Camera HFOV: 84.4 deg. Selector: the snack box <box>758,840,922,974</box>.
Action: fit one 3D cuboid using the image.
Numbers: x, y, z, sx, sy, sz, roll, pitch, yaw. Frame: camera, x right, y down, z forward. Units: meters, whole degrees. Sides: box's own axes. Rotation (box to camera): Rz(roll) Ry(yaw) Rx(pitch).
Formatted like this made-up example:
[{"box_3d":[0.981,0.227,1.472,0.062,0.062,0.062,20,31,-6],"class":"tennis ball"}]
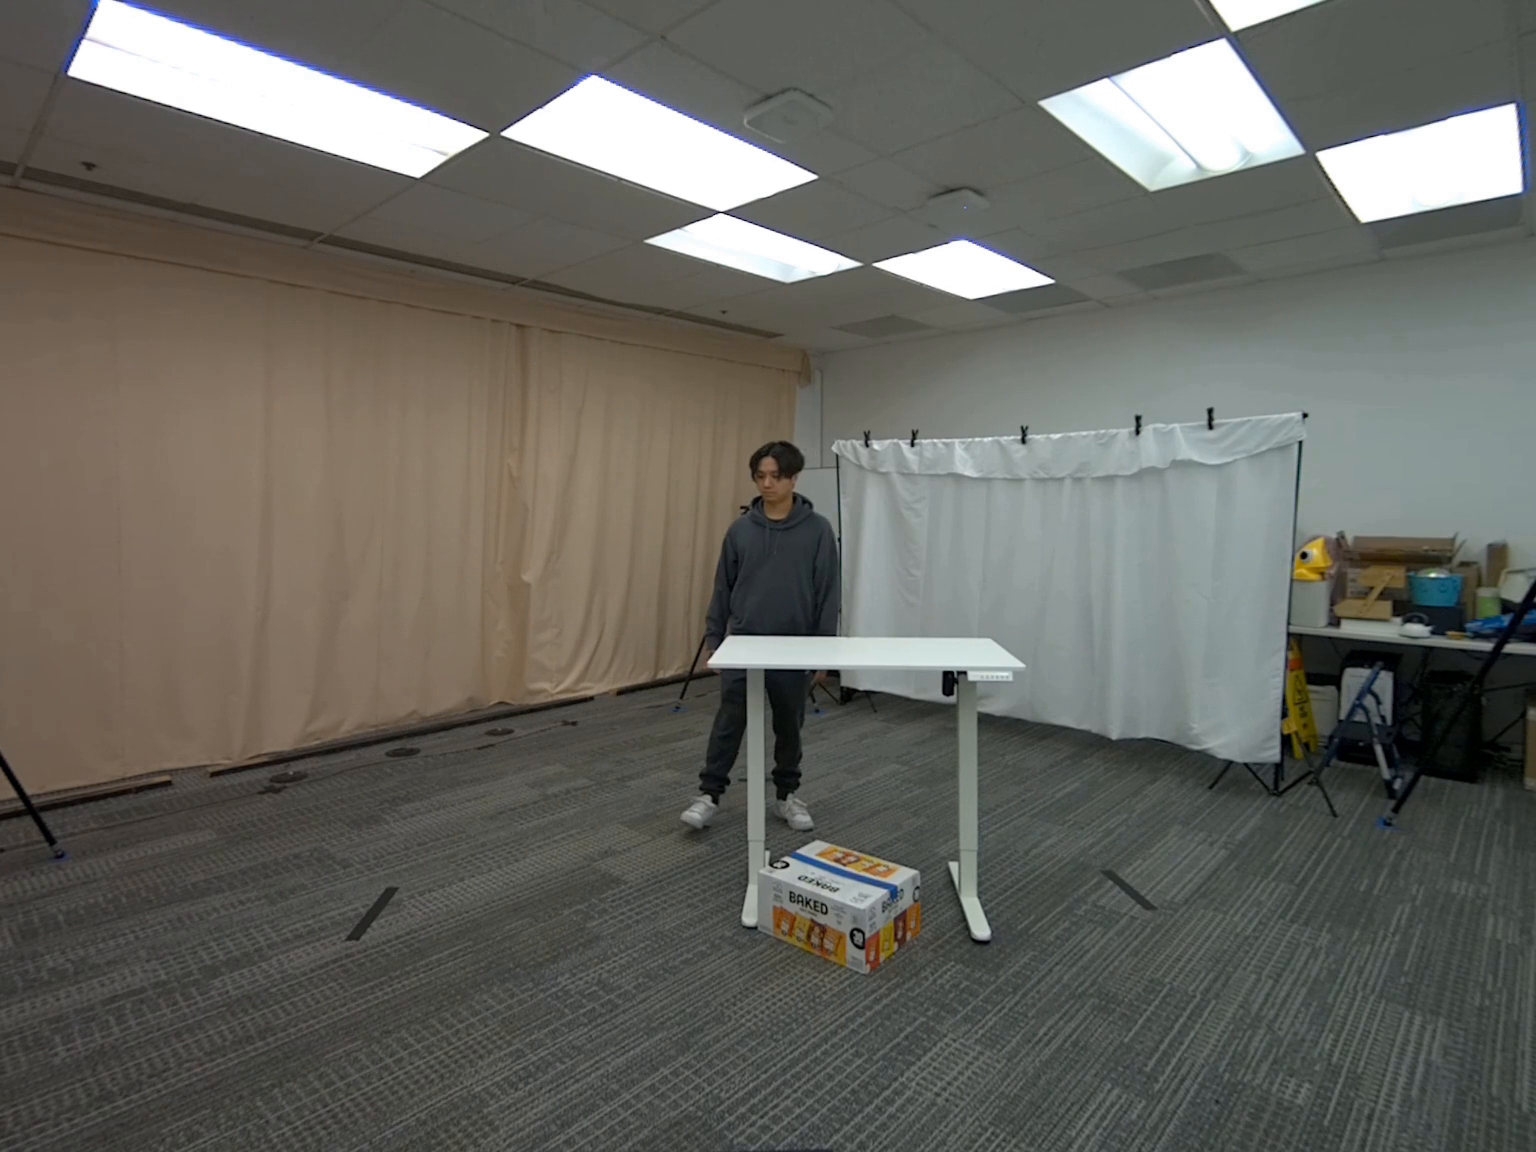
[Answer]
[{"box_3d":[0.235,1.062,2.741,0.418,0.205,0.330,4,6,39],"class":"snack box"}]
